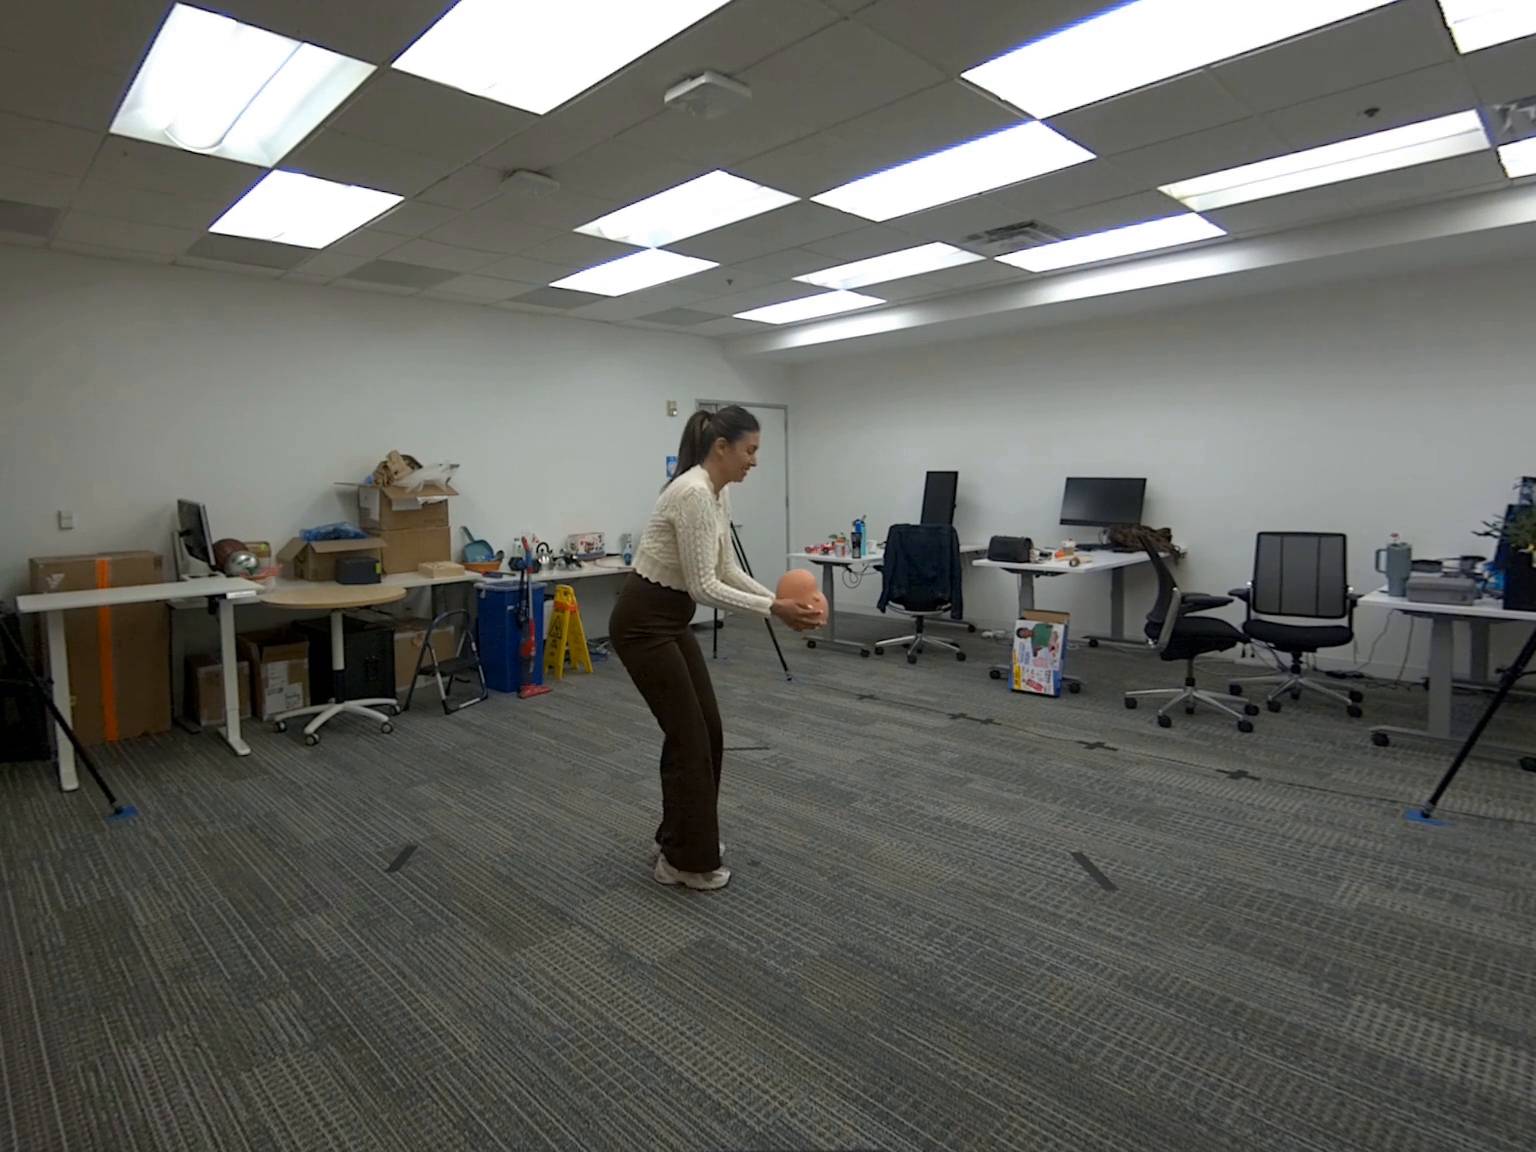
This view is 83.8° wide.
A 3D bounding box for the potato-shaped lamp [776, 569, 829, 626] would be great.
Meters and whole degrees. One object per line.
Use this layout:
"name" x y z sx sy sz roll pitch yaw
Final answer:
"potato-shaped lamp" 0.109 0.079 2.878 0.172 0.196 0.166 -5 9 2
